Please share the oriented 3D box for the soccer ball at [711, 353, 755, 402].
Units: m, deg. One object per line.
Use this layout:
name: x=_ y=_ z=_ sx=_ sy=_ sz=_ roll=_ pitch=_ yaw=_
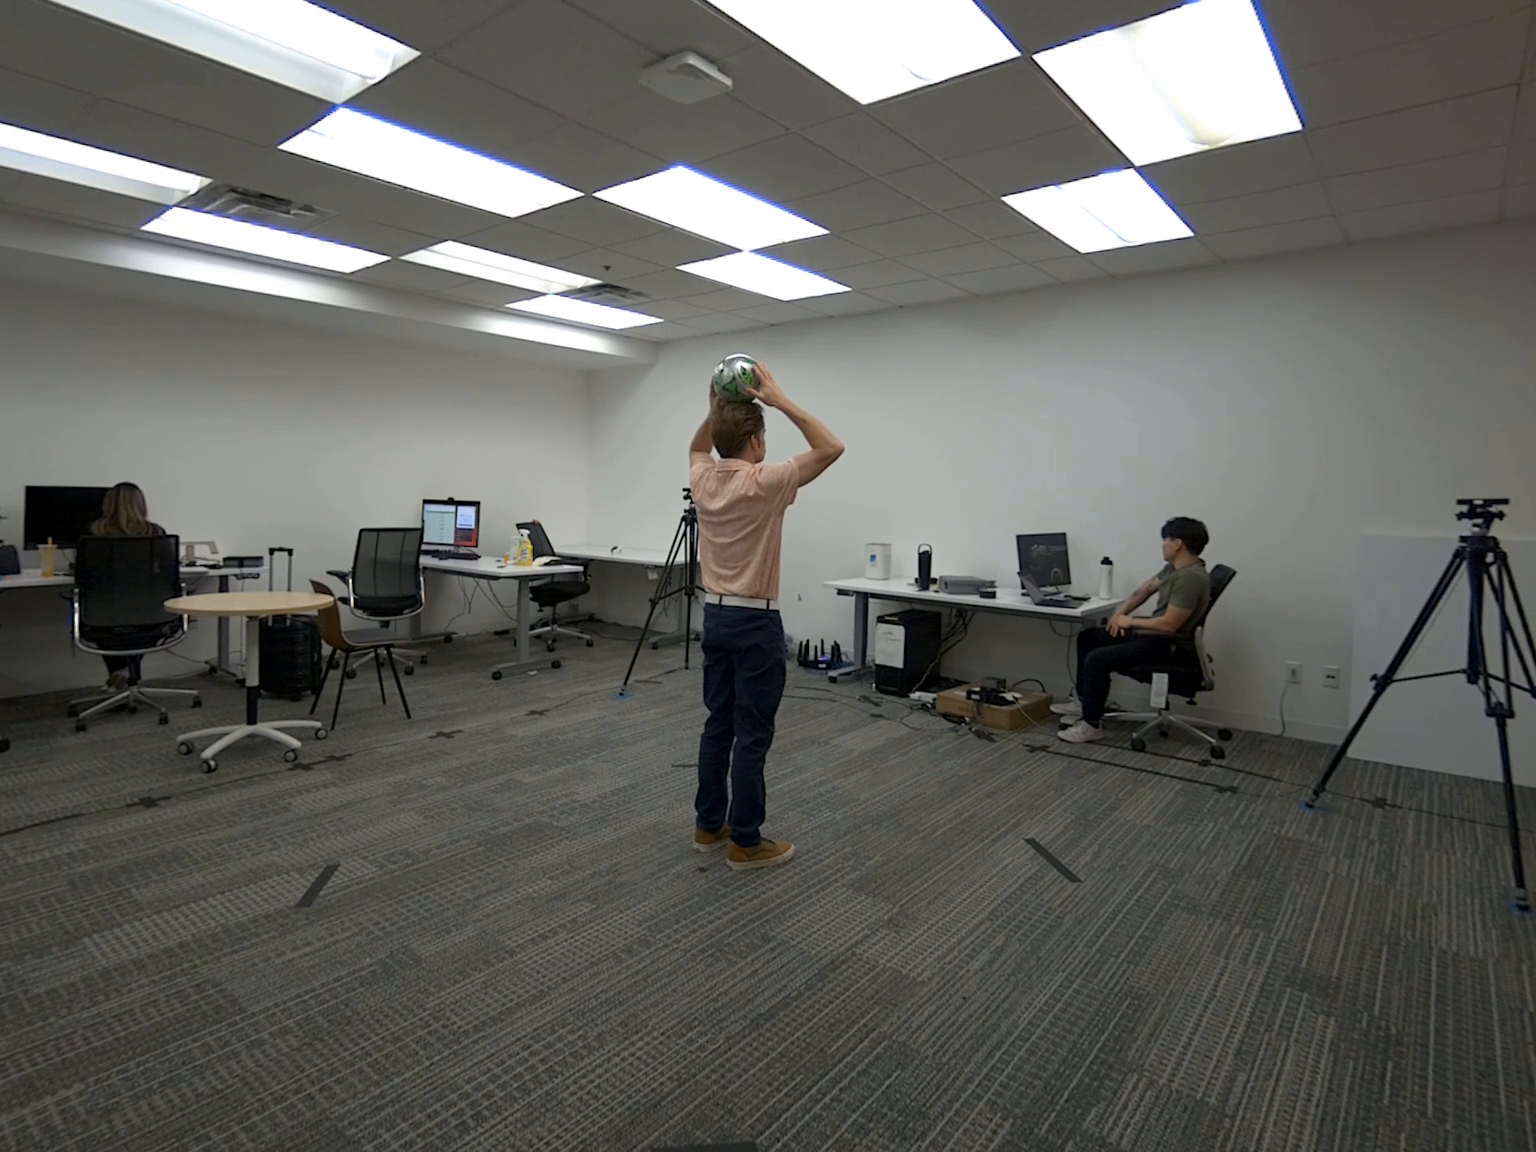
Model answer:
soccer ball: x=-0.123 y=-0.726 z=3.163 sx=0.187 sy=0.187 sz=0.188 roll=1 pitch=4 yaw=-2
